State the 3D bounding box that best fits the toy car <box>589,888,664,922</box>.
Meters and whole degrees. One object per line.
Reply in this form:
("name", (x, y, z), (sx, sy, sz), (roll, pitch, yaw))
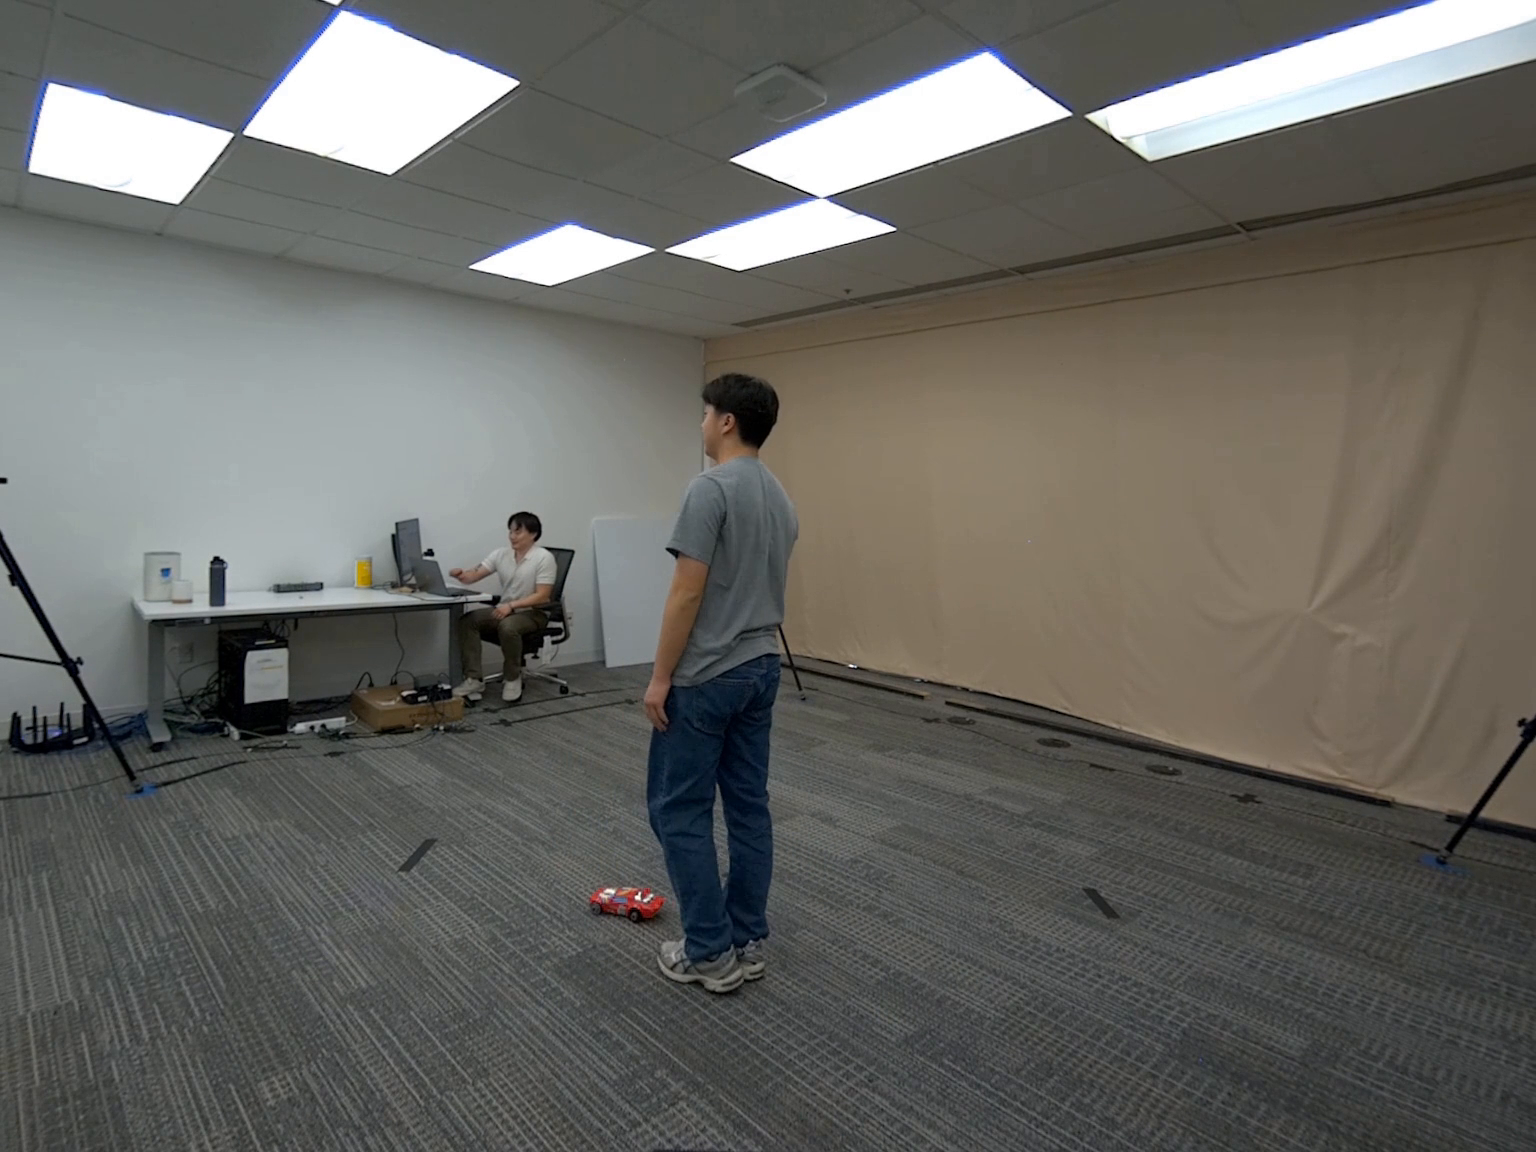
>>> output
("toy car", (-0.473, 1.094, 2.807), (0.258, 0.083, 0.128), (-9, 1, 19))
